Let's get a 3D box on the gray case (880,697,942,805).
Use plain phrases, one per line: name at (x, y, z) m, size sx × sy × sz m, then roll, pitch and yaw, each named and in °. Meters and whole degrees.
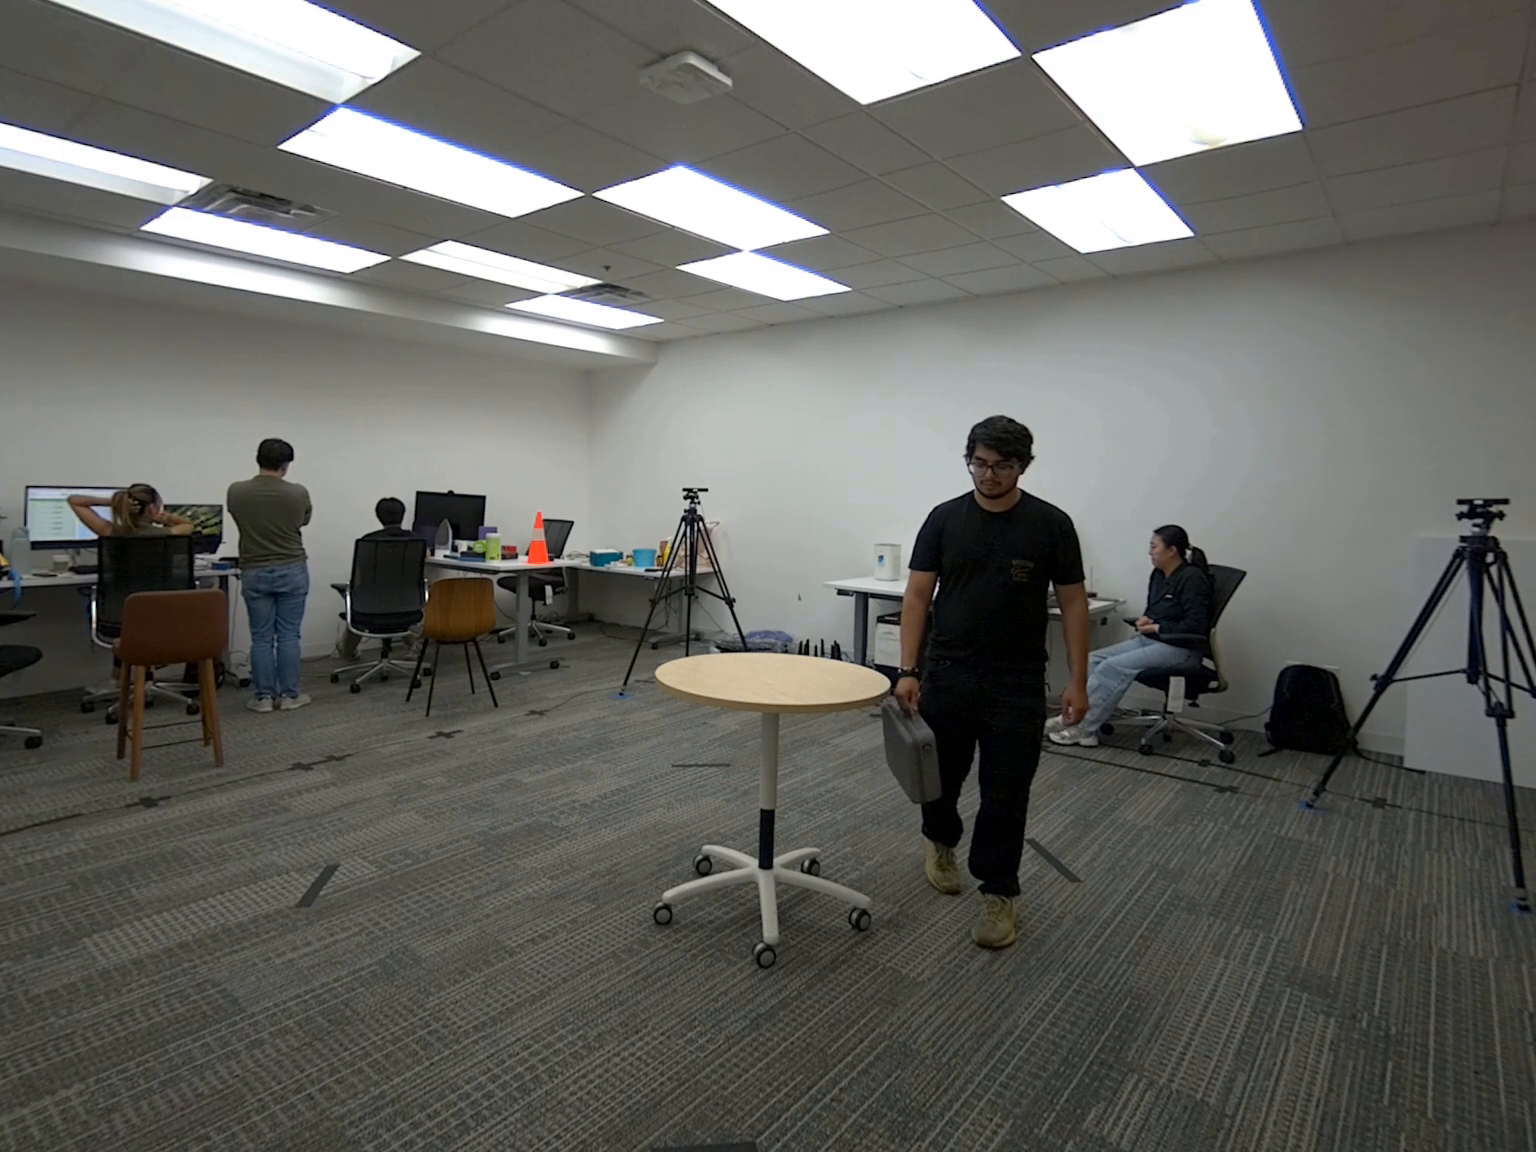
gray case at (0.461, 0.566, 2.767) m, size 0.103 × 0.255 × 0.264 m, roll -13°, pitch 21°, yaw -9°
